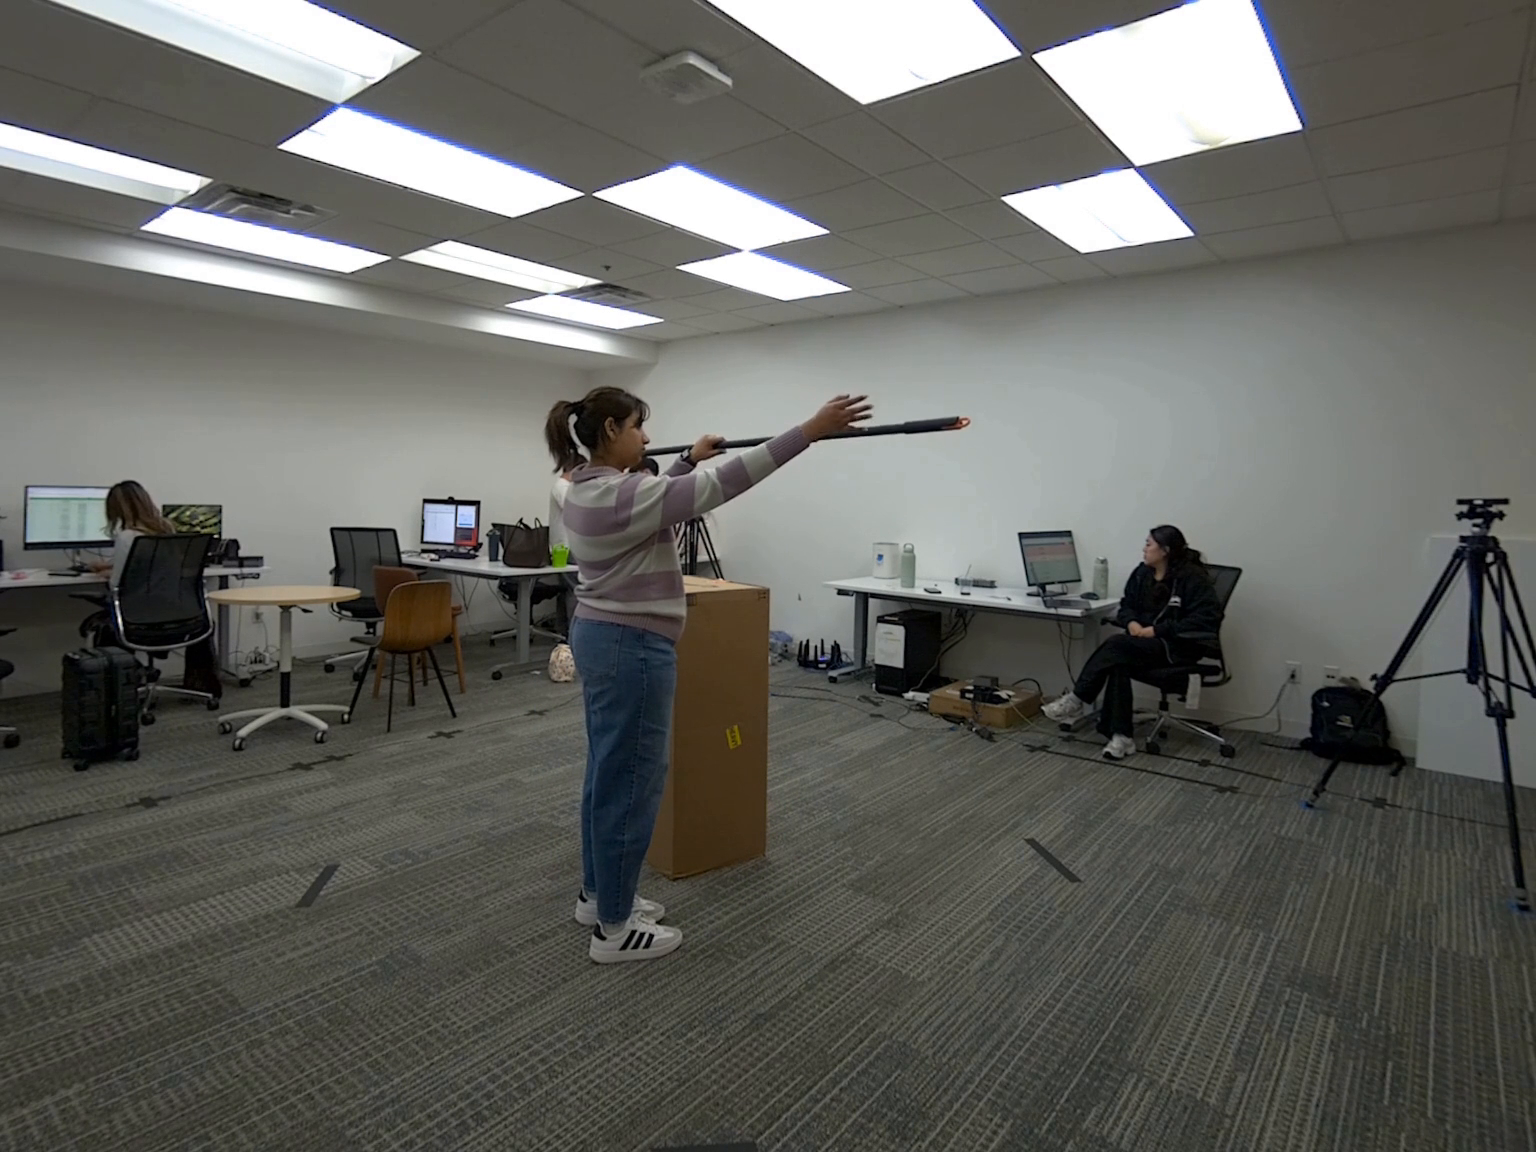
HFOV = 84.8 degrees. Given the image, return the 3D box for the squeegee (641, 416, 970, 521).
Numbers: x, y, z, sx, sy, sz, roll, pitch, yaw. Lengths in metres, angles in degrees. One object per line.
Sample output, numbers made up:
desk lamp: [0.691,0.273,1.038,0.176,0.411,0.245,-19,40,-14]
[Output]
squeegee: [-0.061,-0.417,2.688,1.589,0.441,0.051,5,-18,47]
